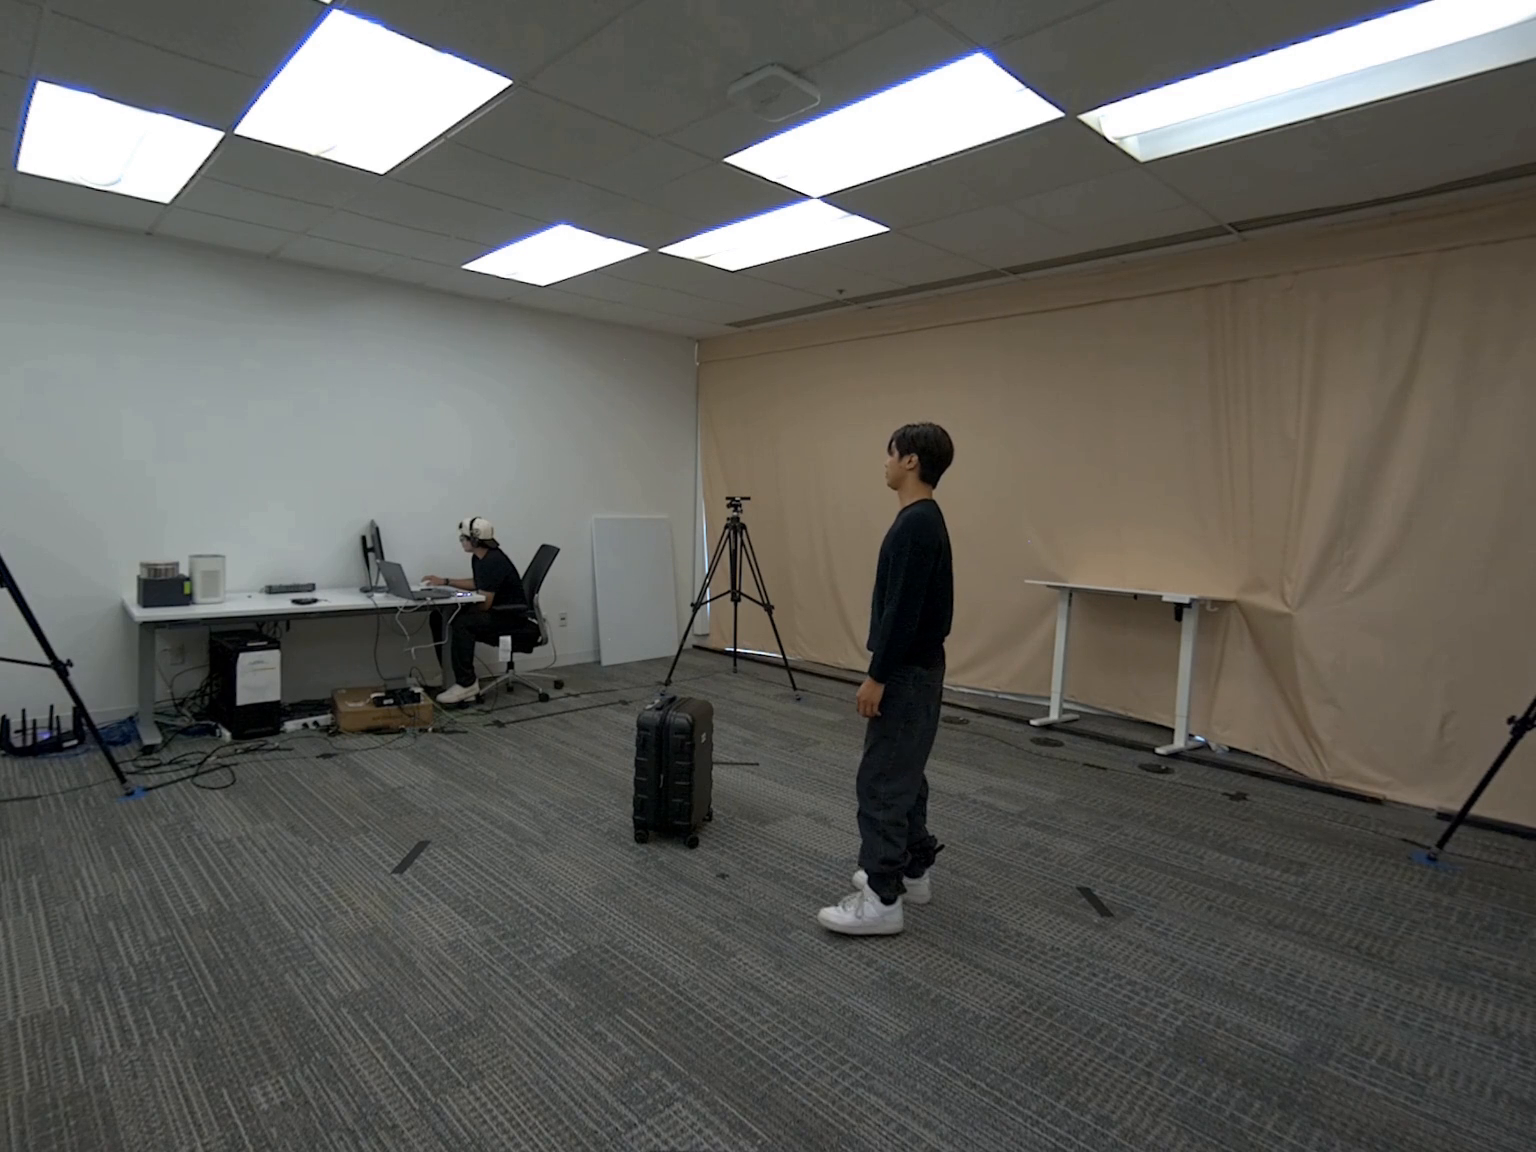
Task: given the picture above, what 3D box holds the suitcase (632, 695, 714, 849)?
[{"bbox_3d":[-0.393,0.787,3.502,0.251,0.548,0.372,3,3,12],"label":"suitcase"}]
